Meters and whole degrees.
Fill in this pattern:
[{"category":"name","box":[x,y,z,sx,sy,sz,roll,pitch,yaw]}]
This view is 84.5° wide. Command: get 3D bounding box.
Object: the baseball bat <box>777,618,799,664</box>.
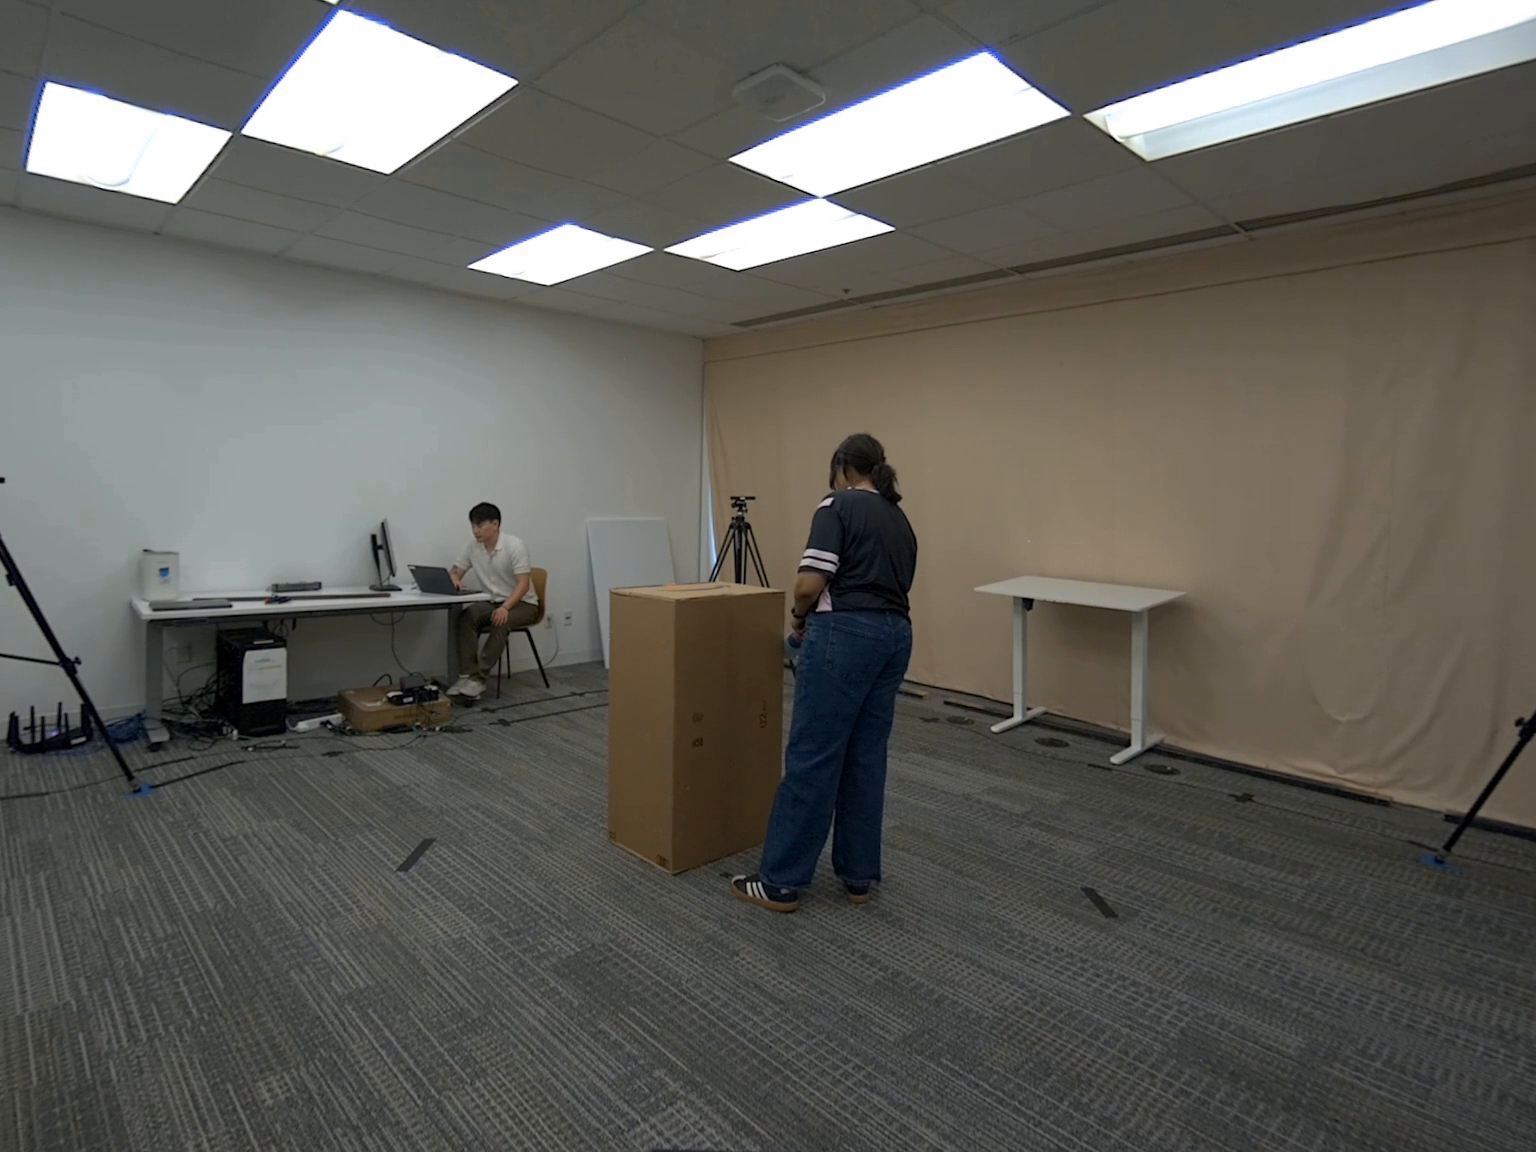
[{"category":"baseball bat","box":[0.110,0.255,3.346,0.089,0.090,0.538,2,-15,-5]}]
